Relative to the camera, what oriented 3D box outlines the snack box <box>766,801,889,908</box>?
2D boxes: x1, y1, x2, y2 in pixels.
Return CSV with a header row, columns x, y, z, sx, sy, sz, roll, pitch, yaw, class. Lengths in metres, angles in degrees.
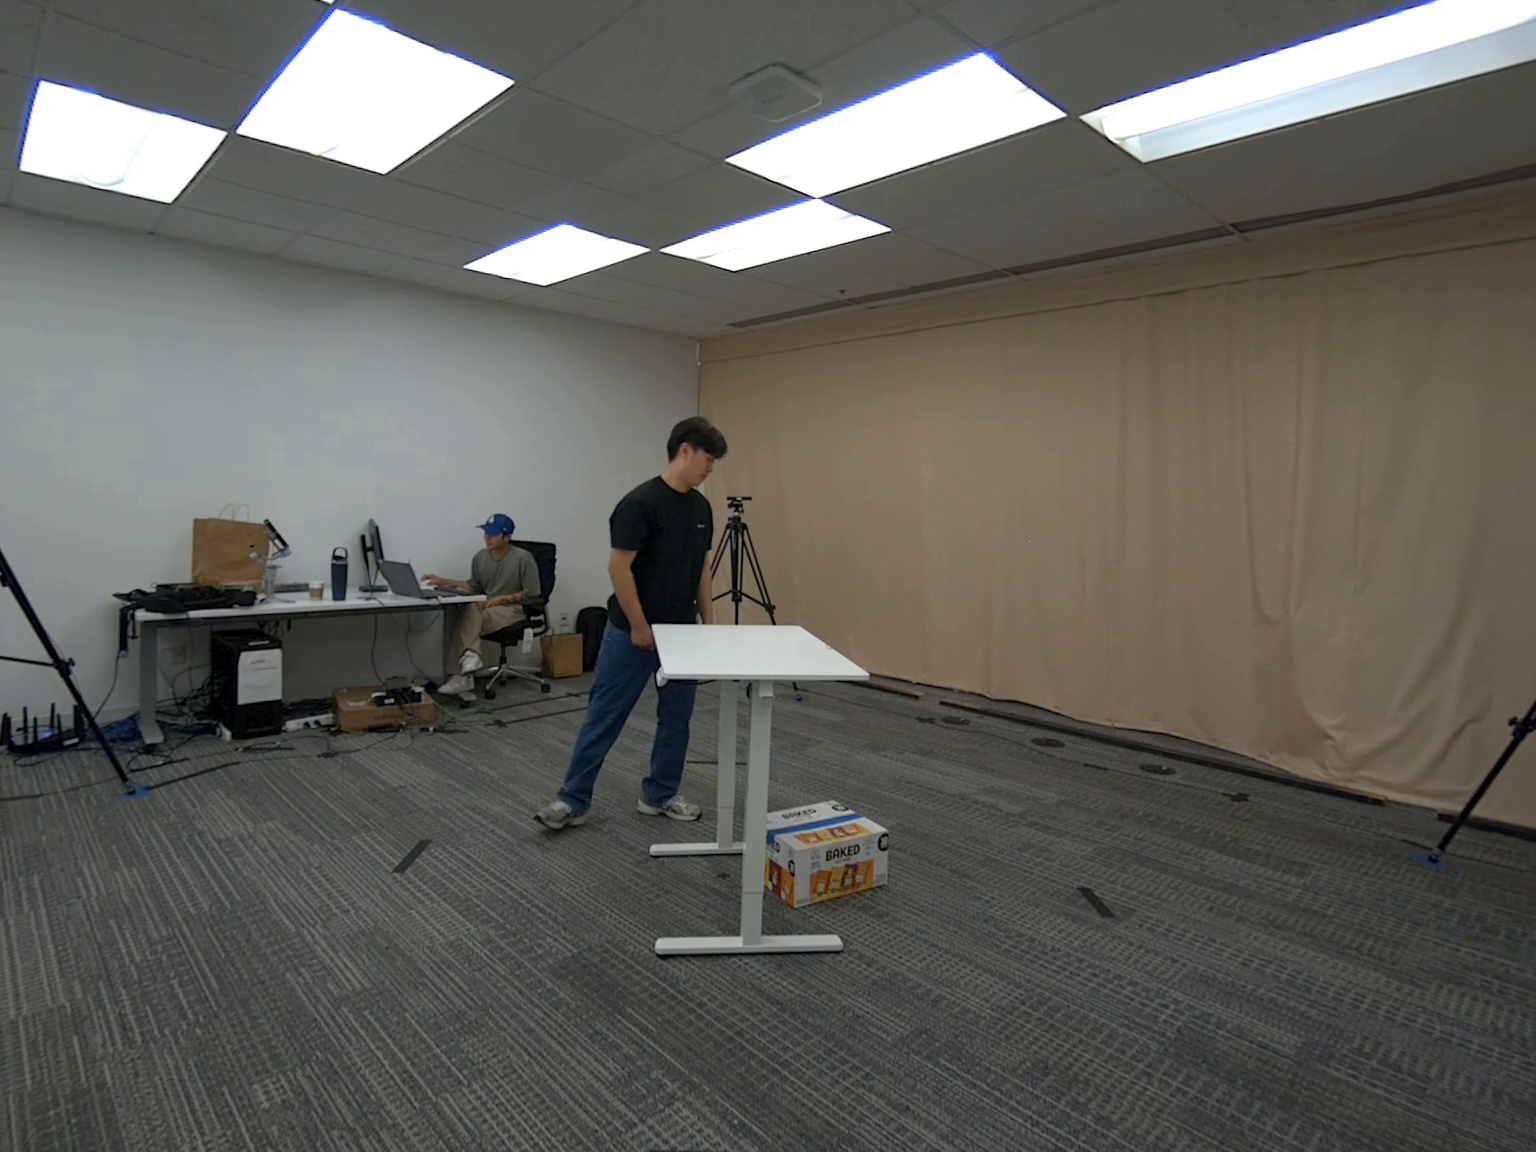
x,y,z,sx,sy,sz,roll,pitch,yaw,class
0.173,1.014,3.096,0.397,0.205,0.348,-2,5,-30,snack box
